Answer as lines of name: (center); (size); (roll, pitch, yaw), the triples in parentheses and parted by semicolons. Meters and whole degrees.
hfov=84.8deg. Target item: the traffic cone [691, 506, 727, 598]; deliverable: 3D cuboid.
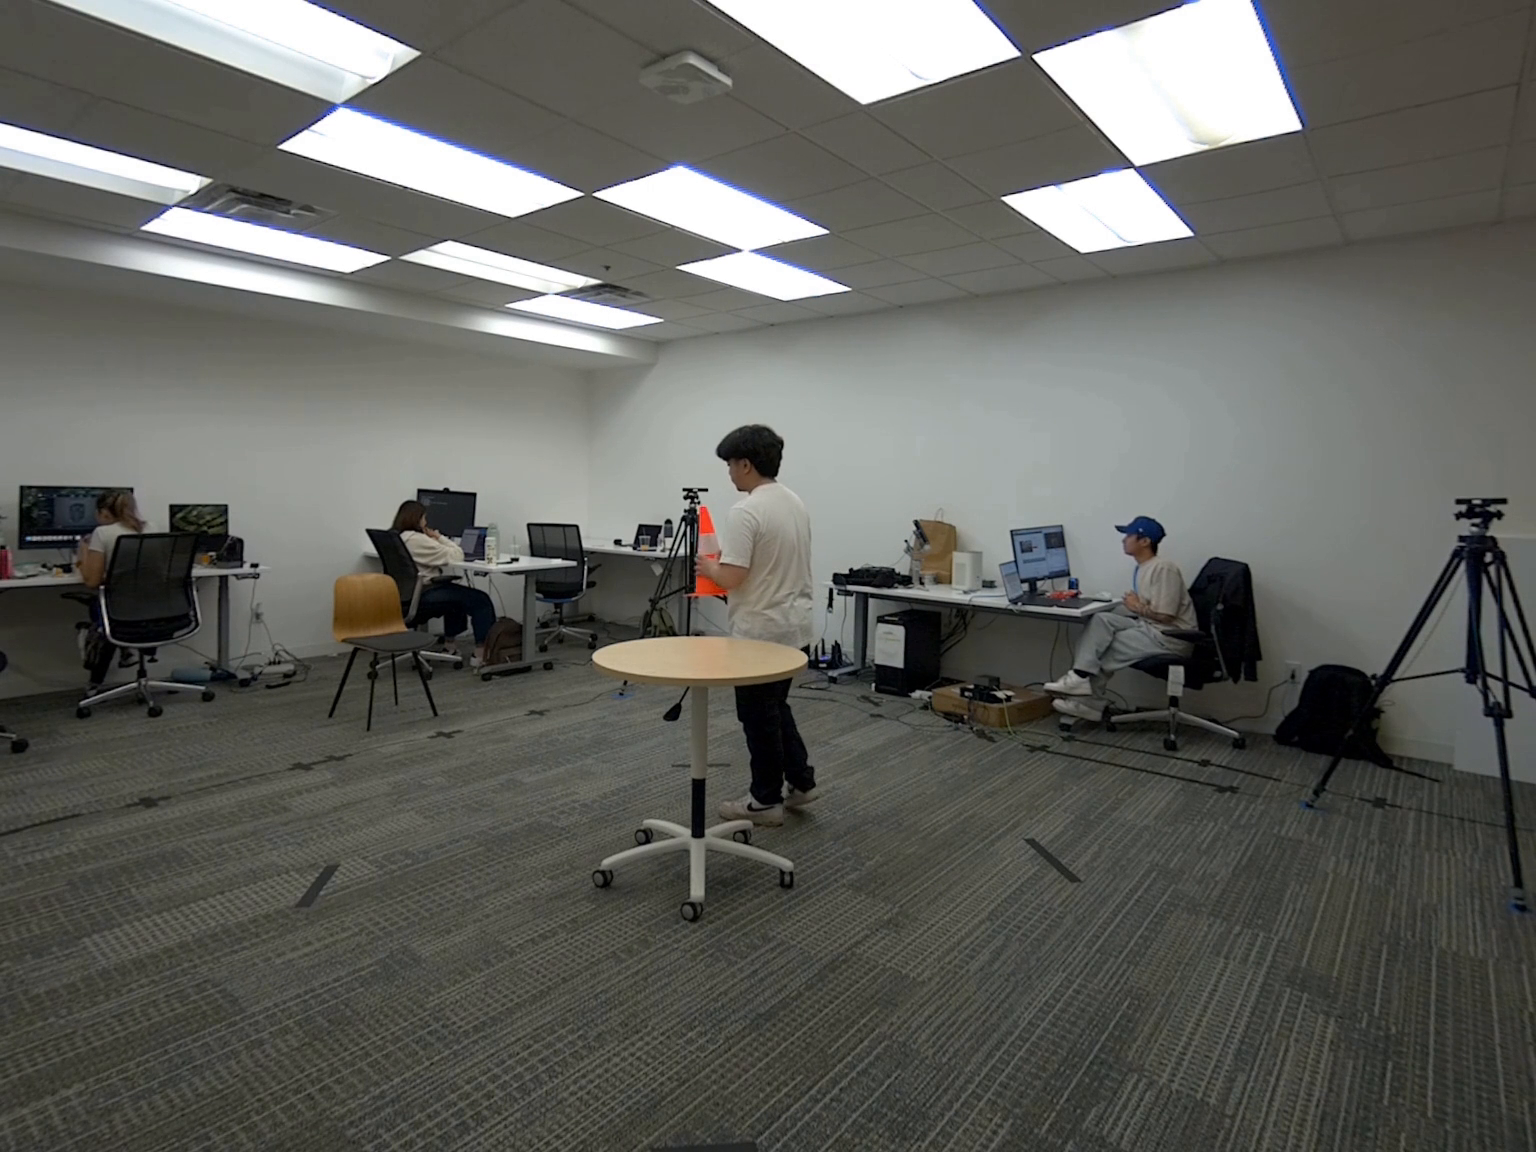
traffic cone: (-0.272, -0.119, 3.701); (0.208, 0.383, 0.200); (-5, 2, 29)
